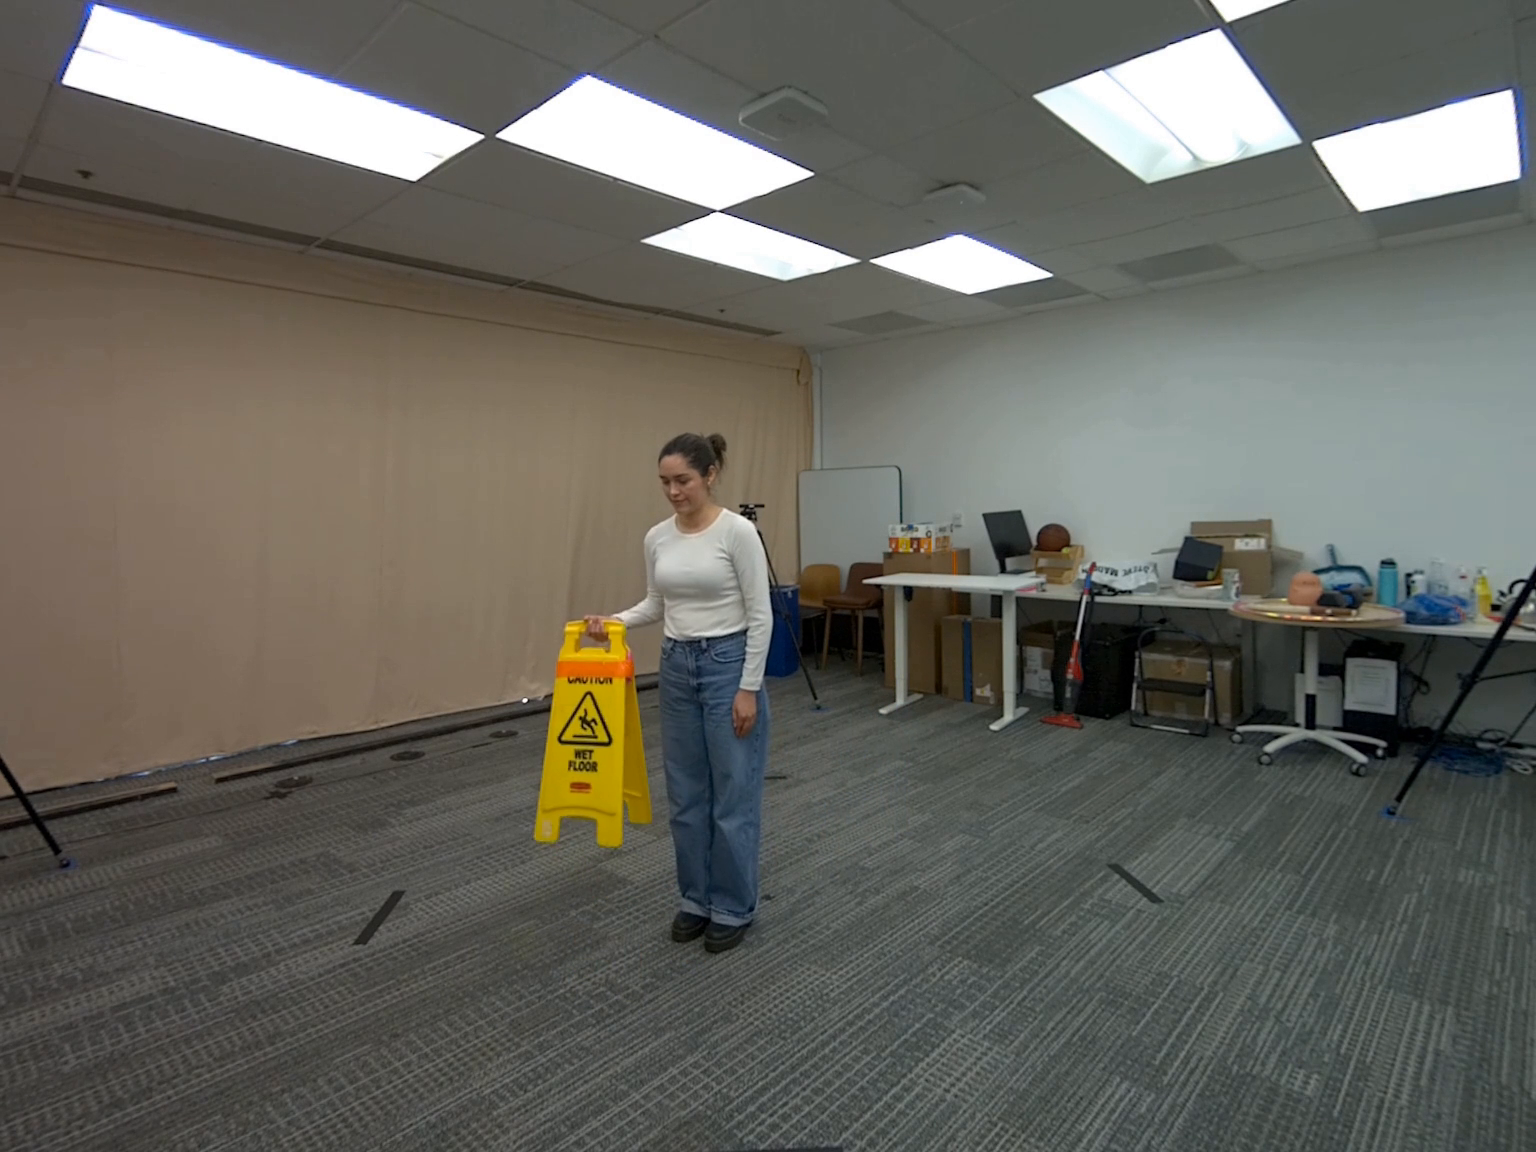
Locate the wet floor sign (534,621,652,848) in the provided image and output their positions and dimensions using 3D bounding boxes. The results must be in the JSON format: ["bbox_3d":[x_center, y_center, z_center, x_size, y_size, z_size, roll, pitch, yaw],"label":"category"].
[{"bbox_3d":[-0.532,0.471,2.623,0.286,0.648,0.285,-1,-4,13],"label":"wet floor sign"}]
